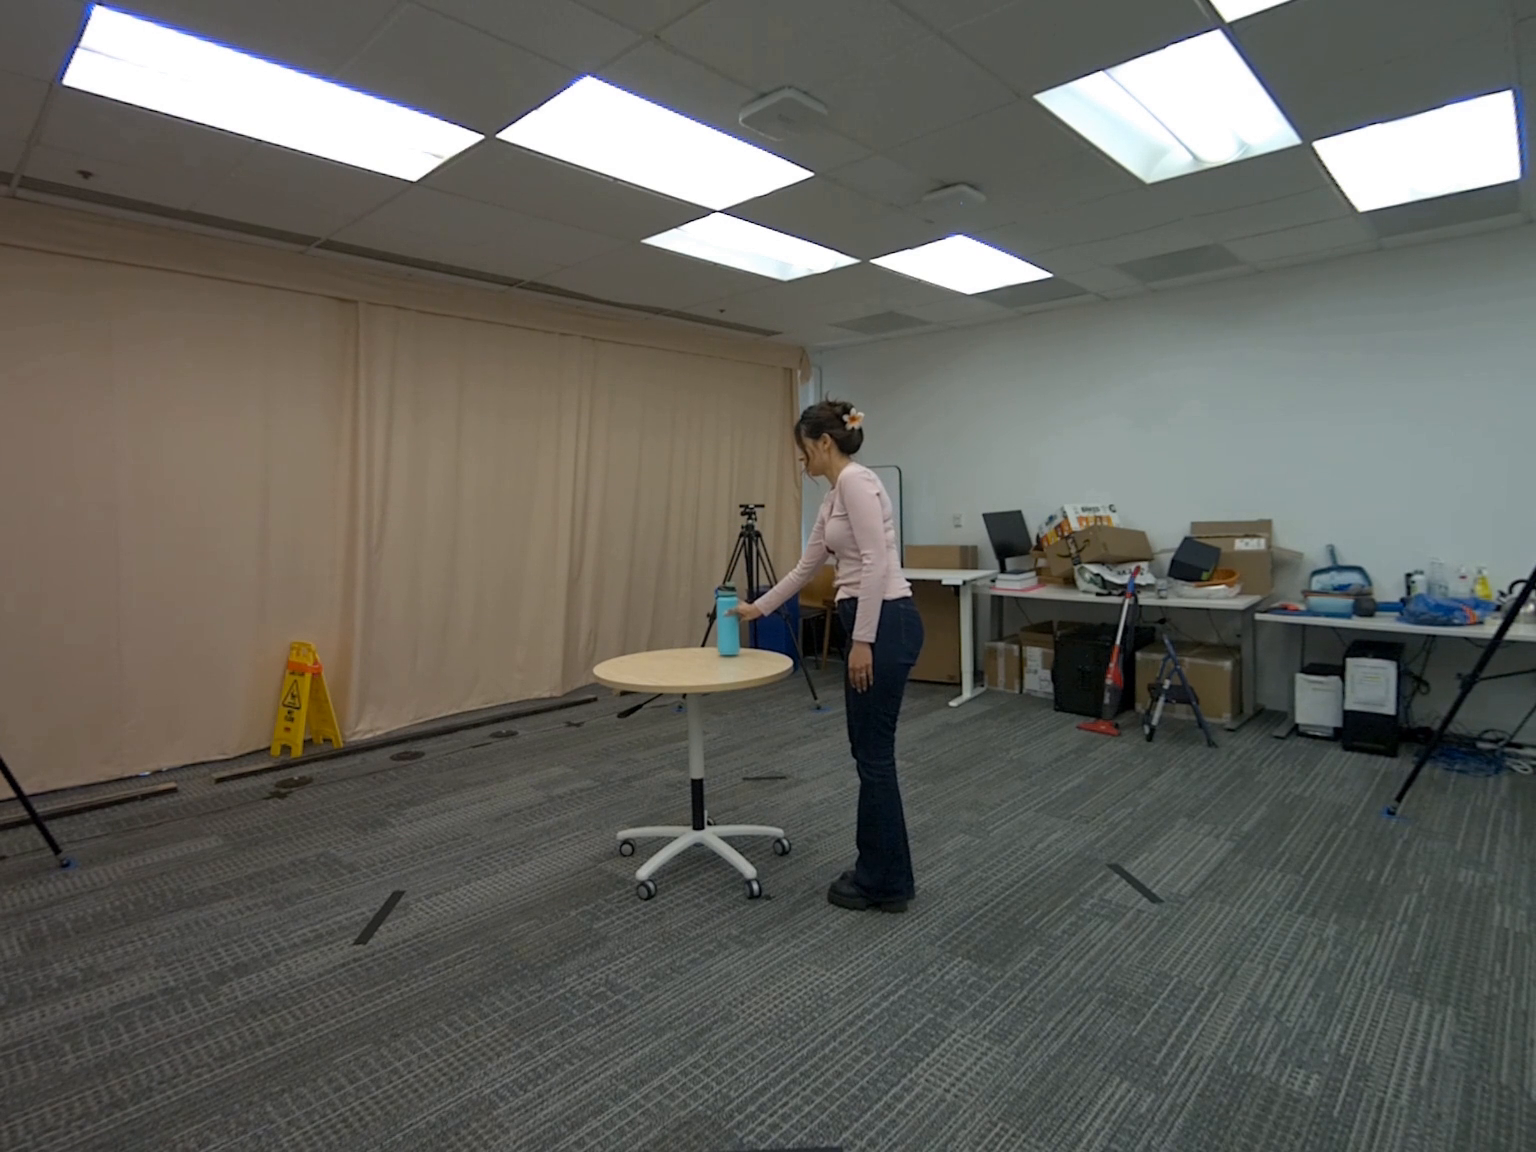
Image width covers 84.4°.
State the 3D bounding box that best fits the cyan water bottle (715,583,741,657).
[{"bbox_3d":[-0.161,0.171,3.396,0.092,0.283,0.092,-2,3,-2],"label":"cyan water bottle"}]
